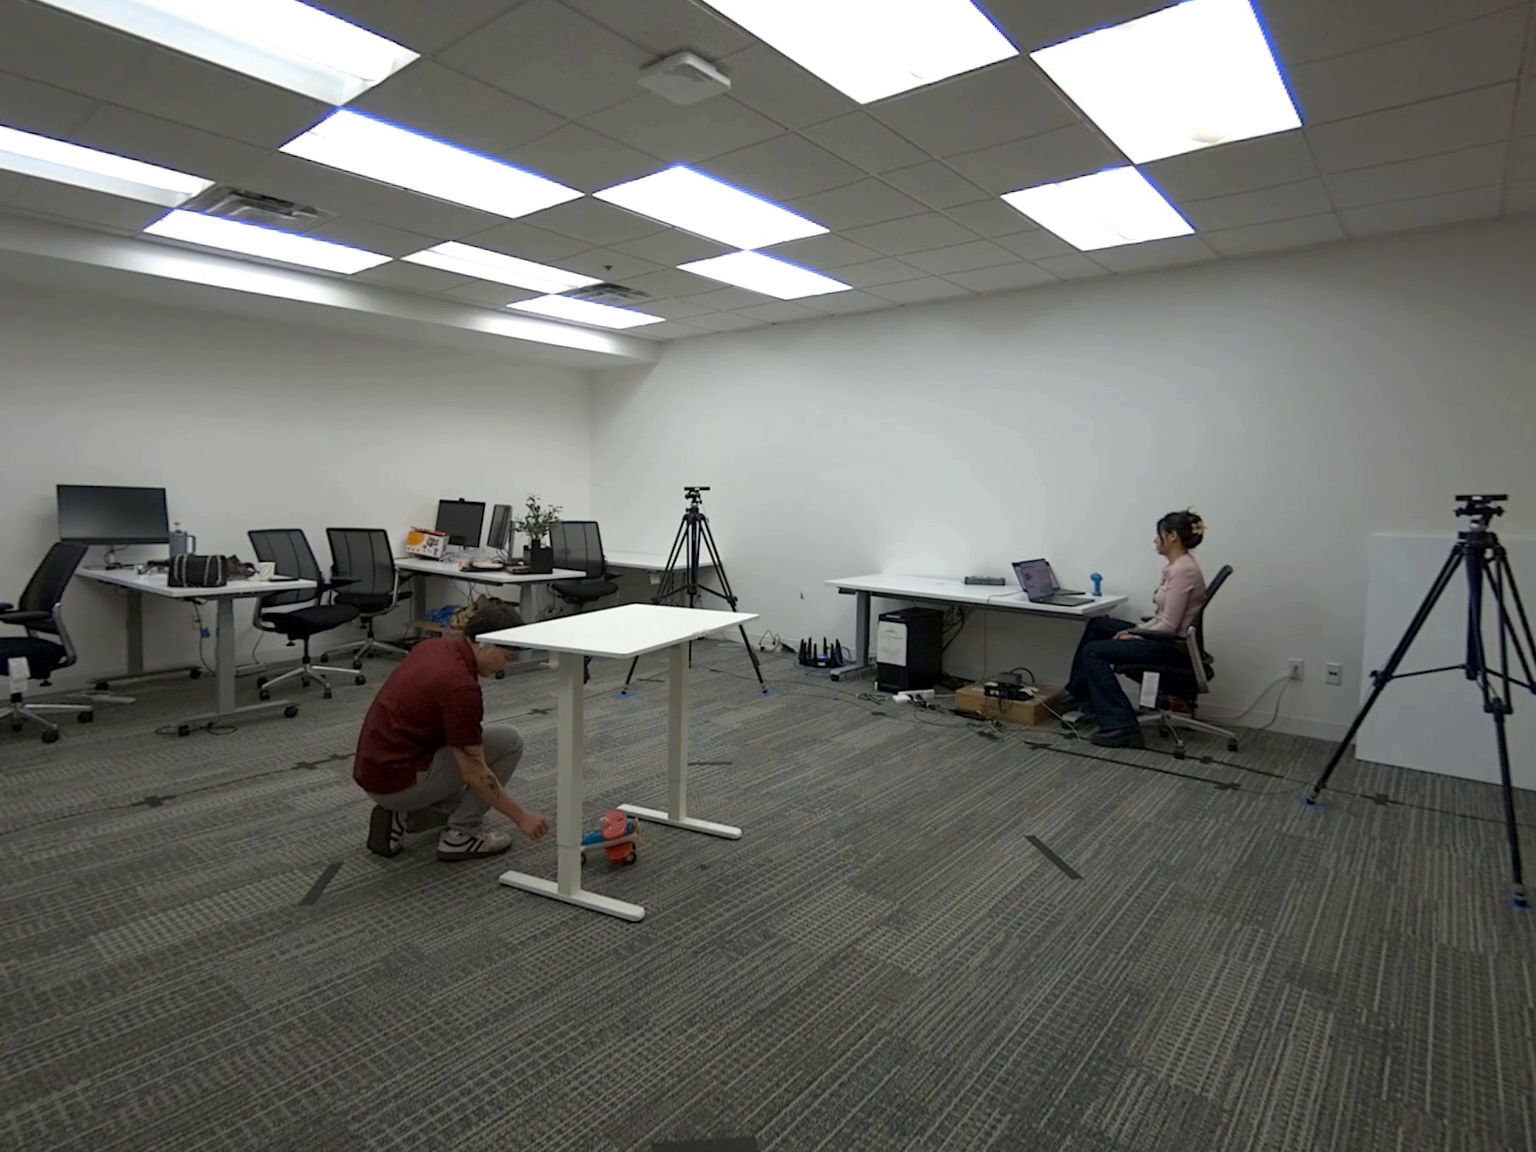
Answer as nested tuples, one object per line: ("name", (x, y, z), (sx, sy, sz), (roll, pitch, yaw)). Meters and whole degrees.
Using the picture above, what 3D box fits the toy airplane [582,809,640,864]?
("toy airplane", (-0.615, 0.985, 3.142), (0.252, 0.156, 0.259), (-1, 6, -35))
